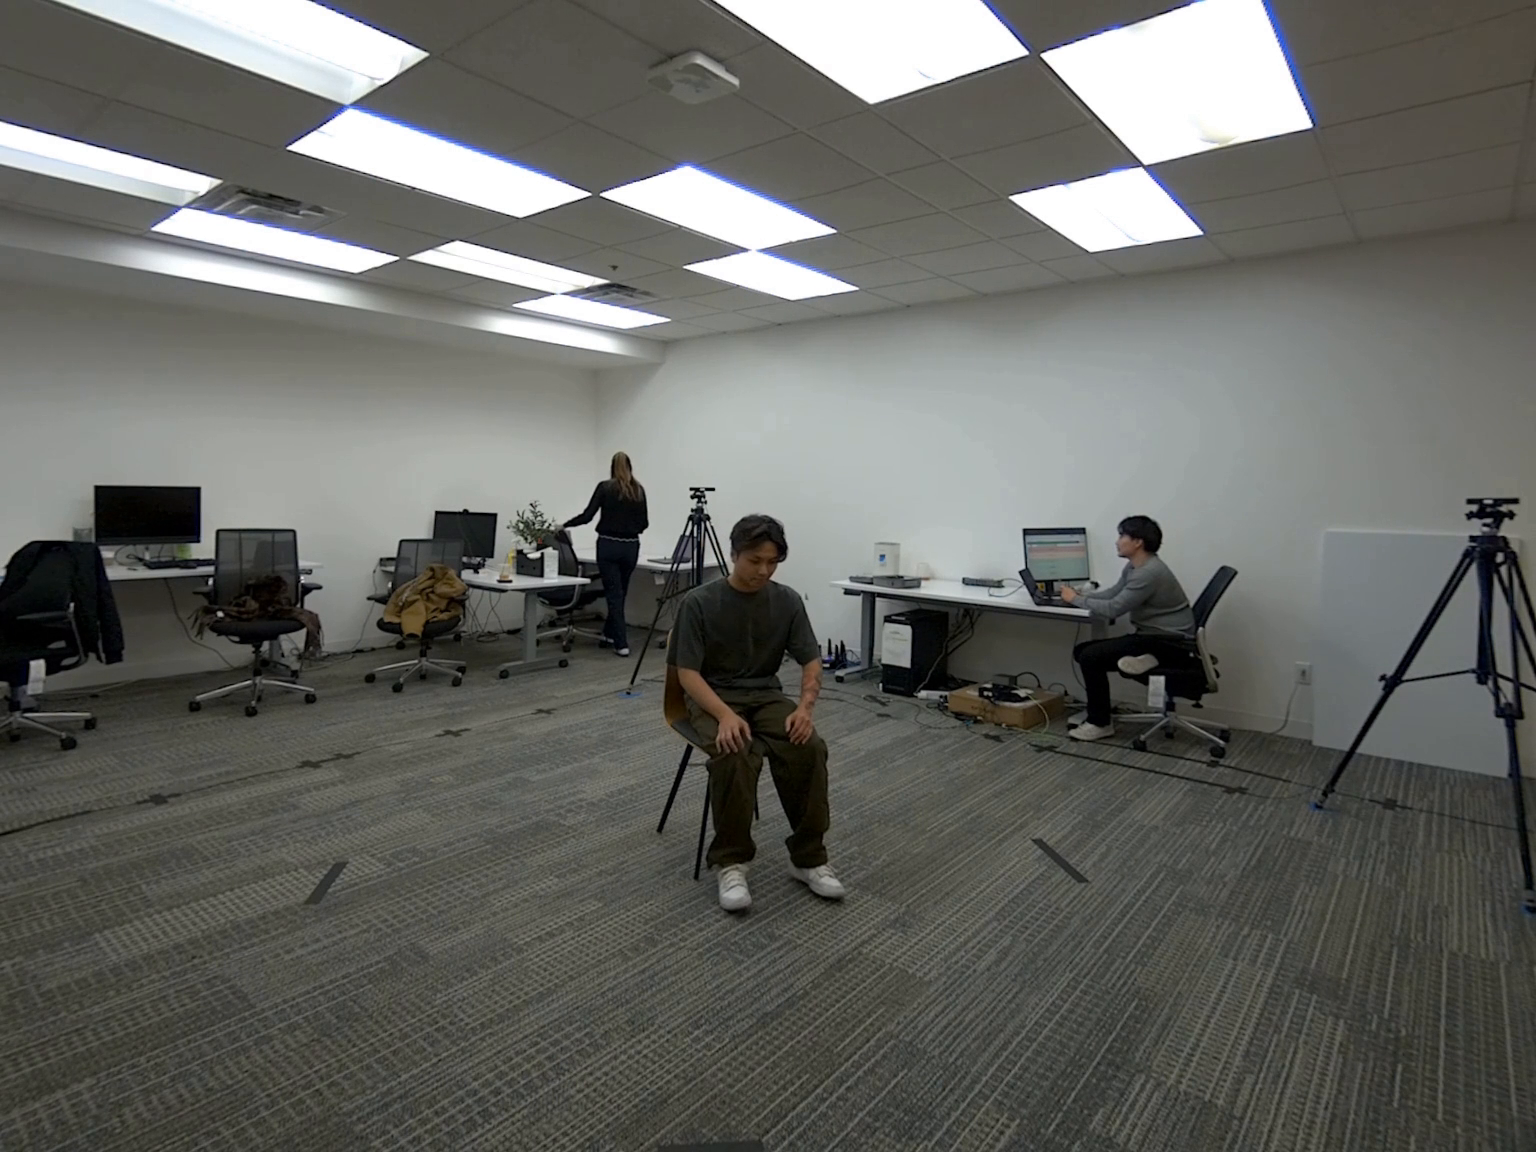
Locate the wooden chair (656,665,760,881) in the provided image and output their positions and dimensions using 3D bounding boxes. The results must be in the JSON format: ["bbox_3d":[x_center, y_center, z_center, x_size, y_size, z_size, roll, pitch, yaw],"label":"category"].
[{"bbox_3d":[-0.145,0.618,3.275,0.467,0.878,0.535,0,0,-23],"label":"wooden chair"}]
